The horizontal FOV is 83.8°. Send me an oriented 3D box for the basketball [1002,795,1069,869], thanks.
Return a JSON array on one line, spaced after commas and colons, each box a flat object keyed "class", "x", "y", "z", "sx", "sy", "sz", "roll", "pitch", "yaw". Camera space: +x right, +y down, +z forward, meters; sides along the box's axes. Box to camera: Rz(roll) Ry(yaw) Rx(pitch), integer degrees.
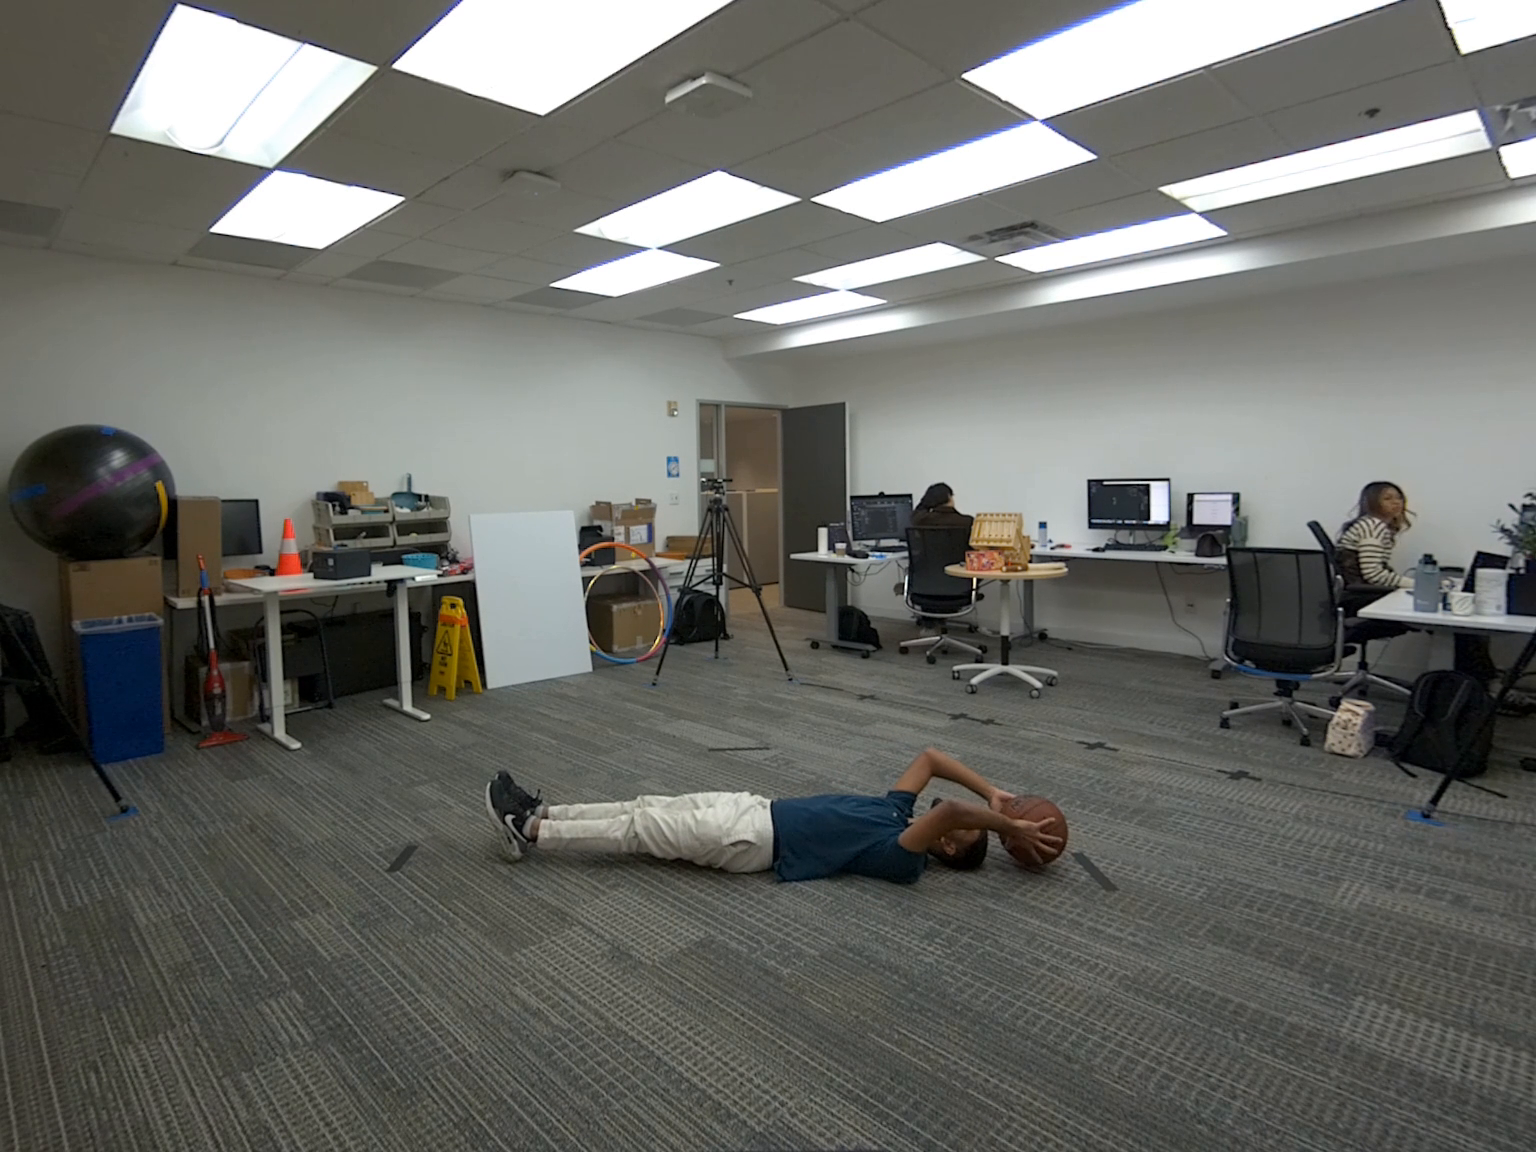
[{"class": "basketball", "x": 0.952, "y": 0.897, "z": 3.041, "sx": 0.236, "sy": 0.235, "sz": 0.237, "roll": -1, "pitch": 5, "yaw": -2}]
